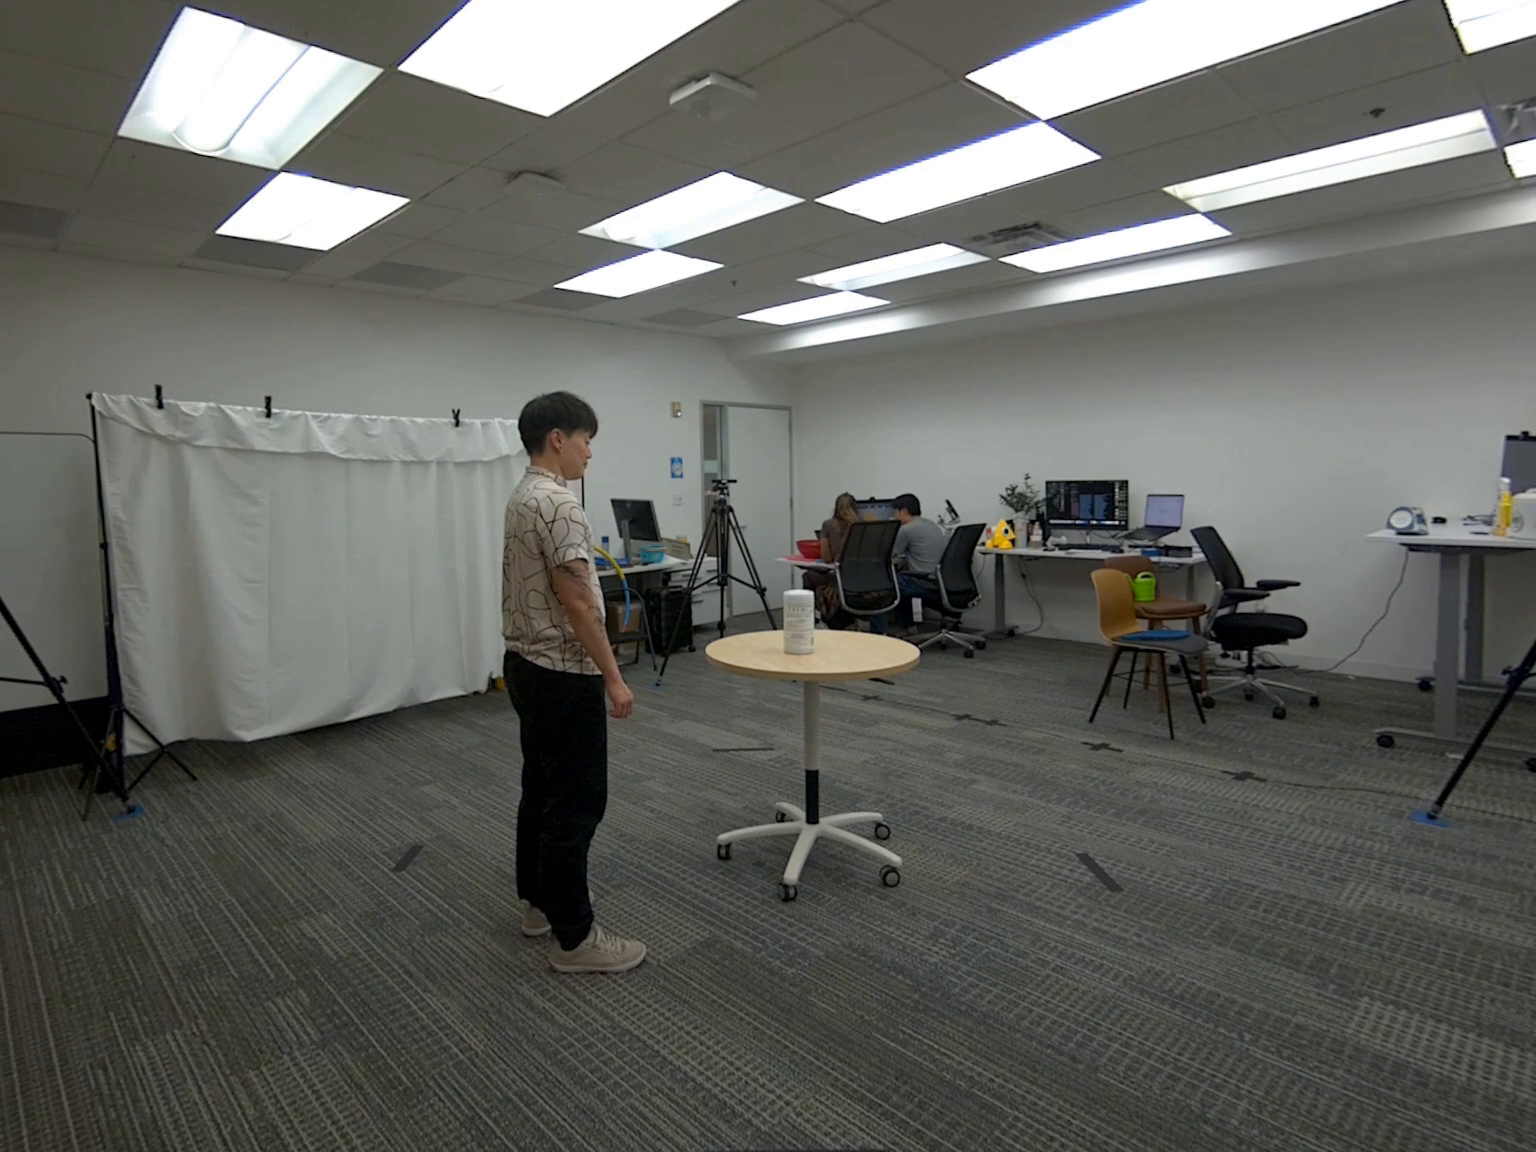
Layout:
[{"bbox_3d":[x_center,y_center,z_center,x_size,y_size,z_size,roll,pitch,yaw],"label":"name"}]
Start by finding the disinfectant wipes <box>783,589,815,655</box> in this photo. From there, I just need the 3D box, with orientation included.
[{"bbox_3d":[0.116,0.165,3.031,0.118,0.217,0.118,-2,3,-2],"label":"disinfectant wipes"}]
